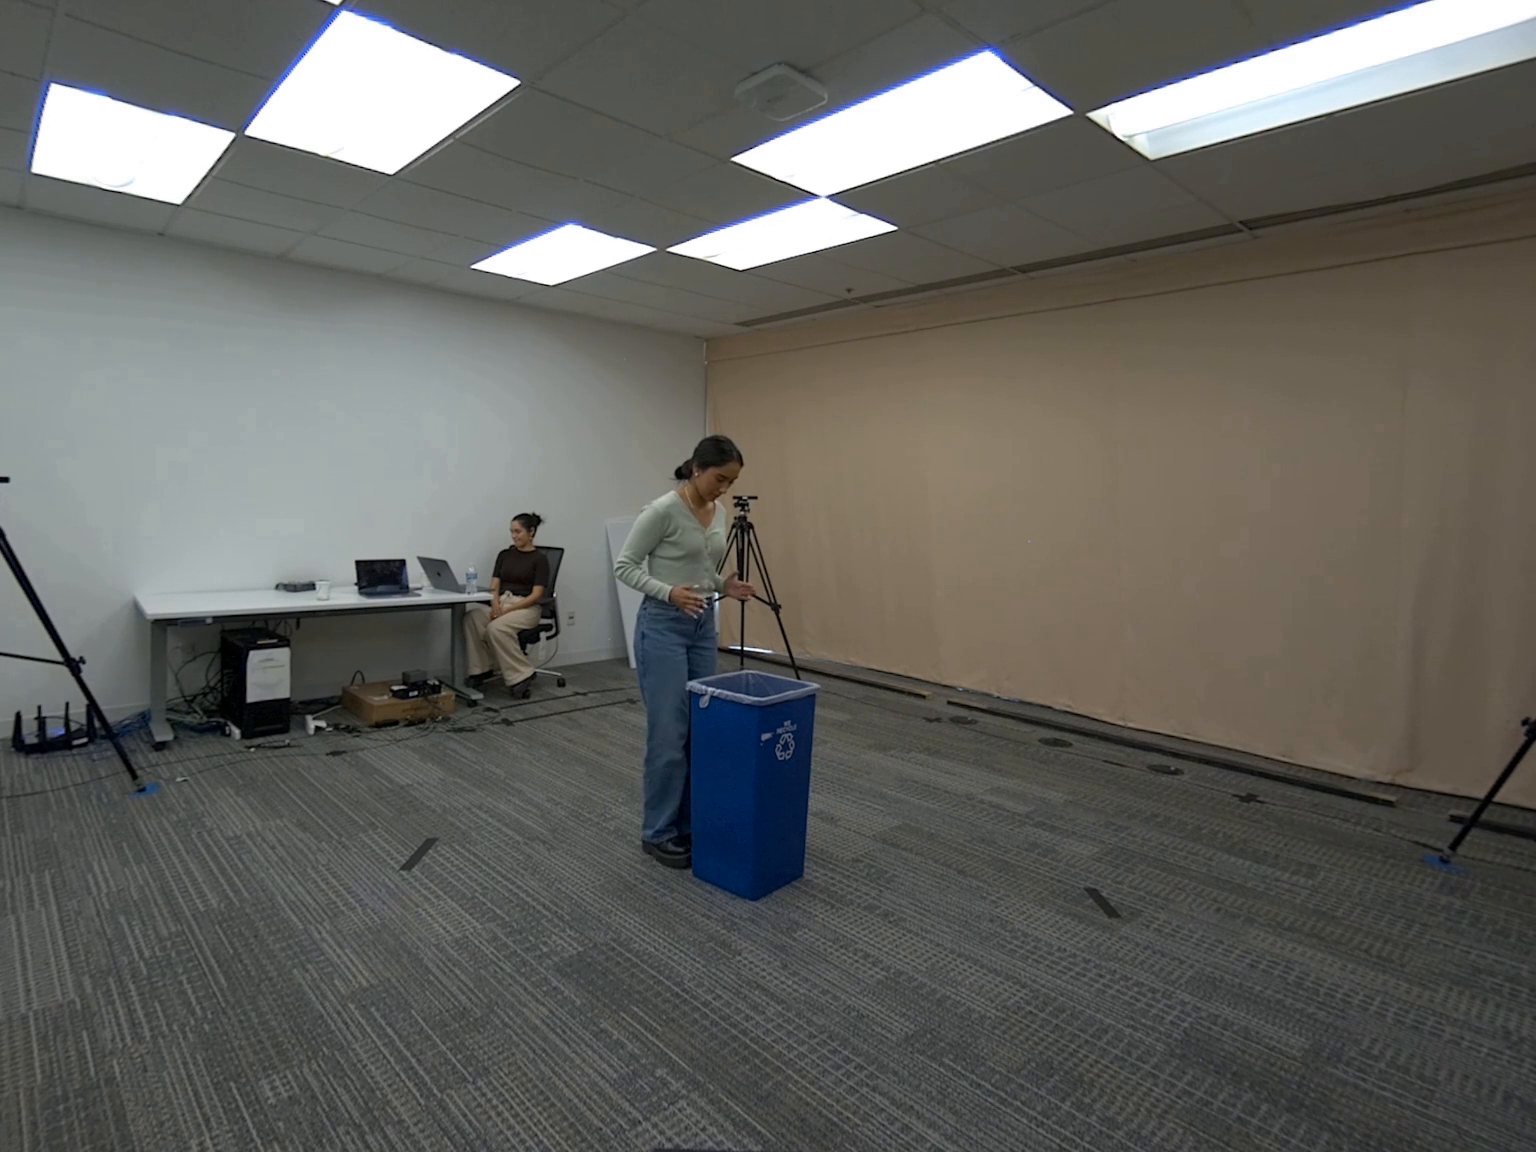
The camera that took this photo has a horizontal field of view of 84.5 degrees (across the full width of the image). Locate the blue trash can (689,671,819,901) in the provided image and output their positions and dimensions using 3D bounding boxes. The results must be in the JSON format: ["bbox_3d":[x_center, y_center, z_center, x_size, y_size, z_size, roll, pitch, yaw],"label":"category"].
[{"bbox_3d":[-0.067,0.746,3.088,0.387,0.711,0.366,5,5,41],"label":"blue trash can"}]
